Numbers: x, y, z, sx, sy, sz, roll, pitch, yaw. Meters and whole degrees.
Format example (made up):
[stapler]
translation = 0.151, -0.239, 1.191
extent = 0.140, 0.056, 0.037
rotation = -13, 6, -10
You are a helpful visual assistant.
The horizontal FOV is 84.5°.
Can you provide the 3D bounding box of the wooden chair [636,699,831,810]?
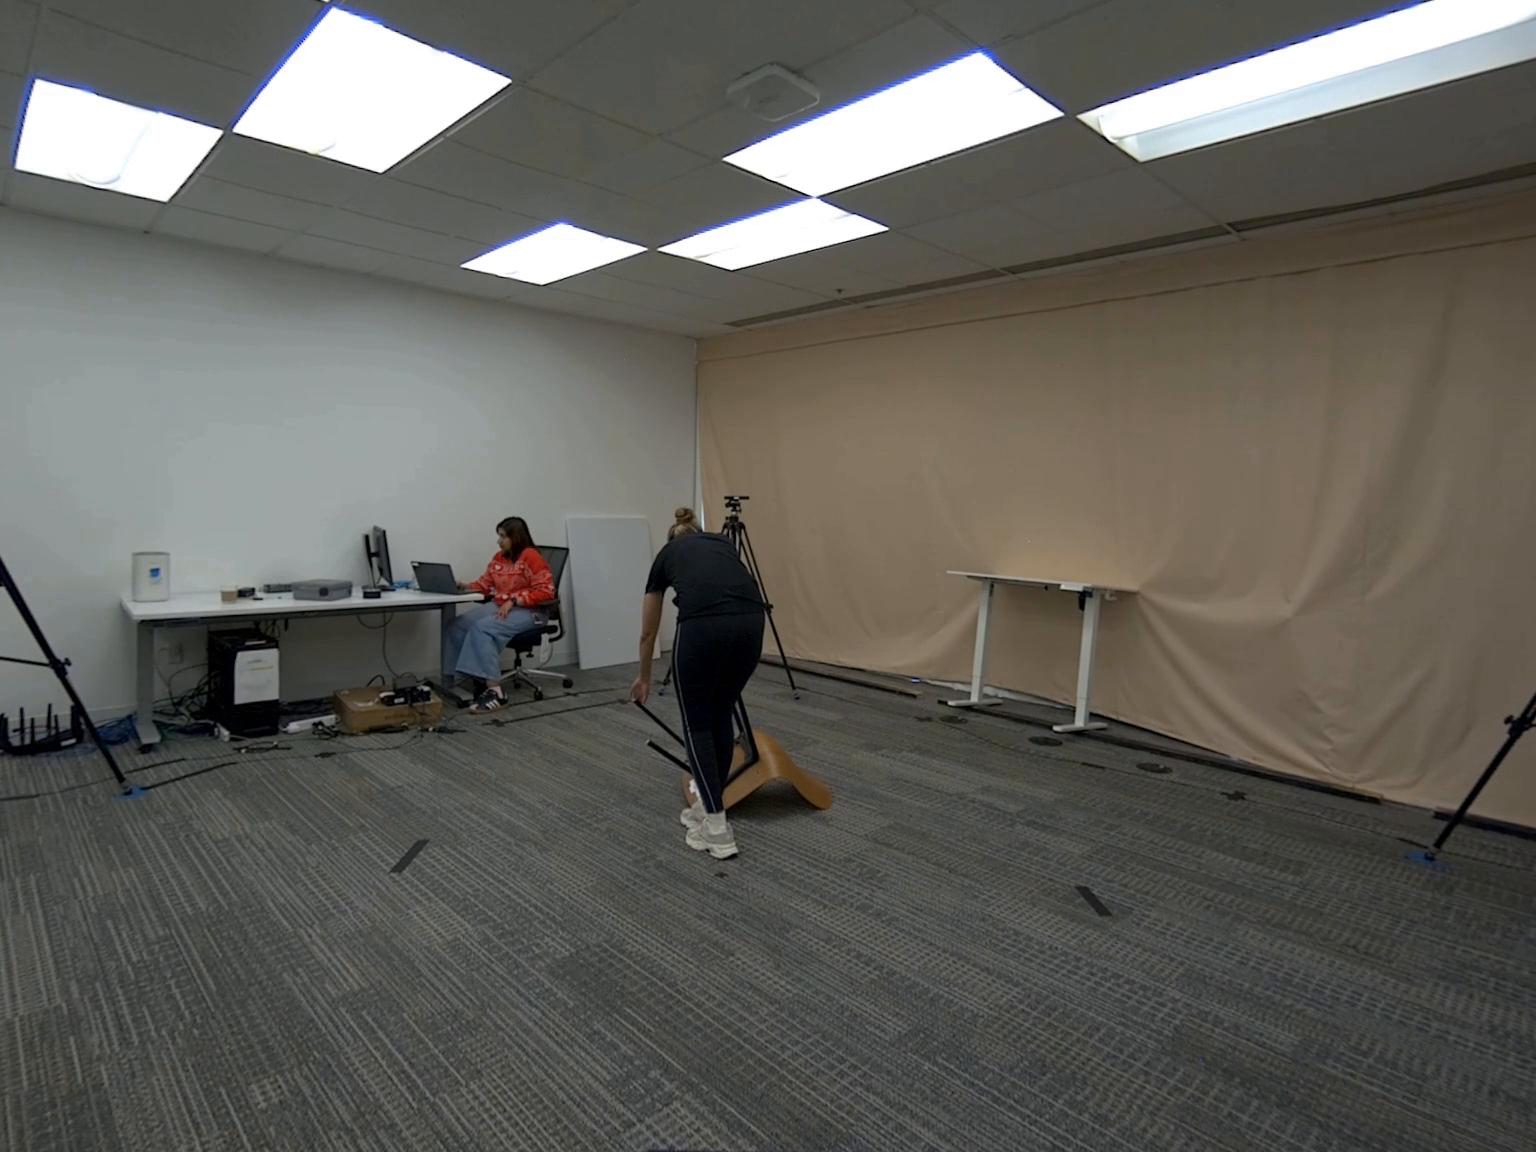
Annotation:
[wooden chair]
translation = -0.181, 0.843, 3.844
extent = 0.523, 0.860, 0.488
rotation = -39, 19, -4
